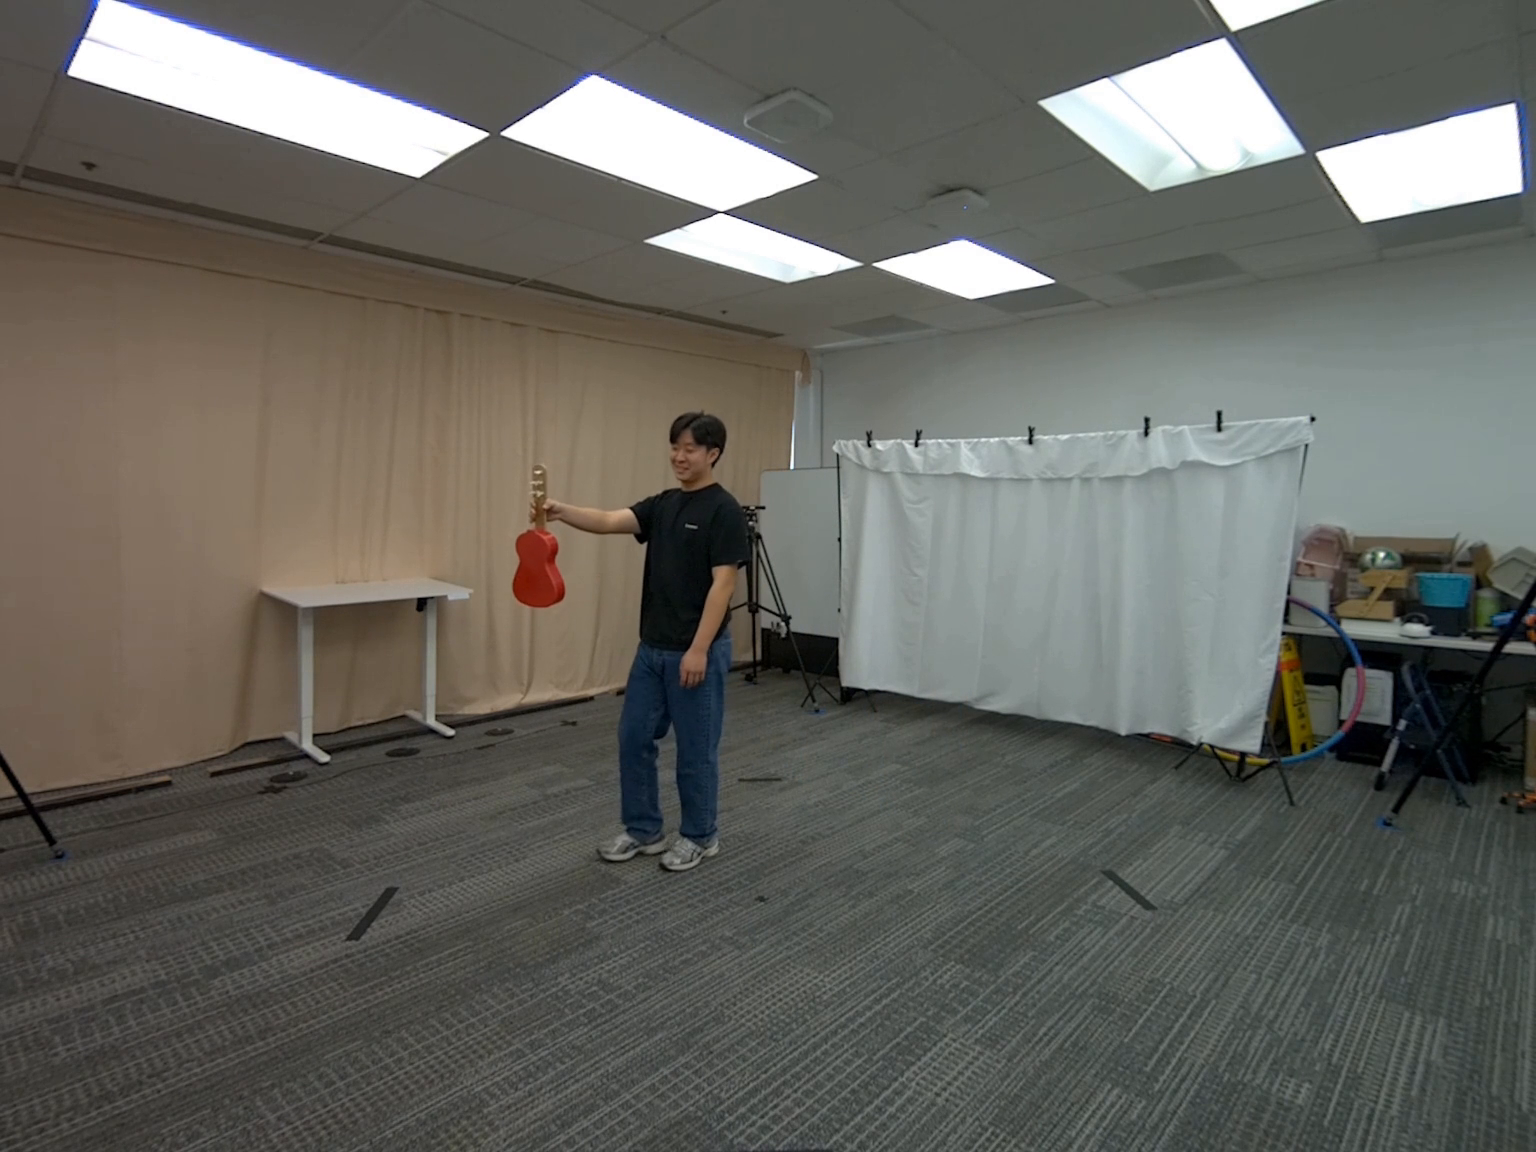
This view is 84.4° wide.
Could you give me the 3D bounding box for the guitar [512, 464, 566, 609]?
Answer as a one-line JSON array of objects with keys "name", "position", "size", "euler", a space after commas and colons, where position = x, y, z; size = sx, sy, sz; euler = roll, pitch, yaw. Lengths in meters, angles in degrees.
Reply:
[{"name": "guitar", "position": [-0.829, -0.134, 2.971], "size": [0.198, 0.495, 0.069], "euler": [-4, 7, 28]}]
